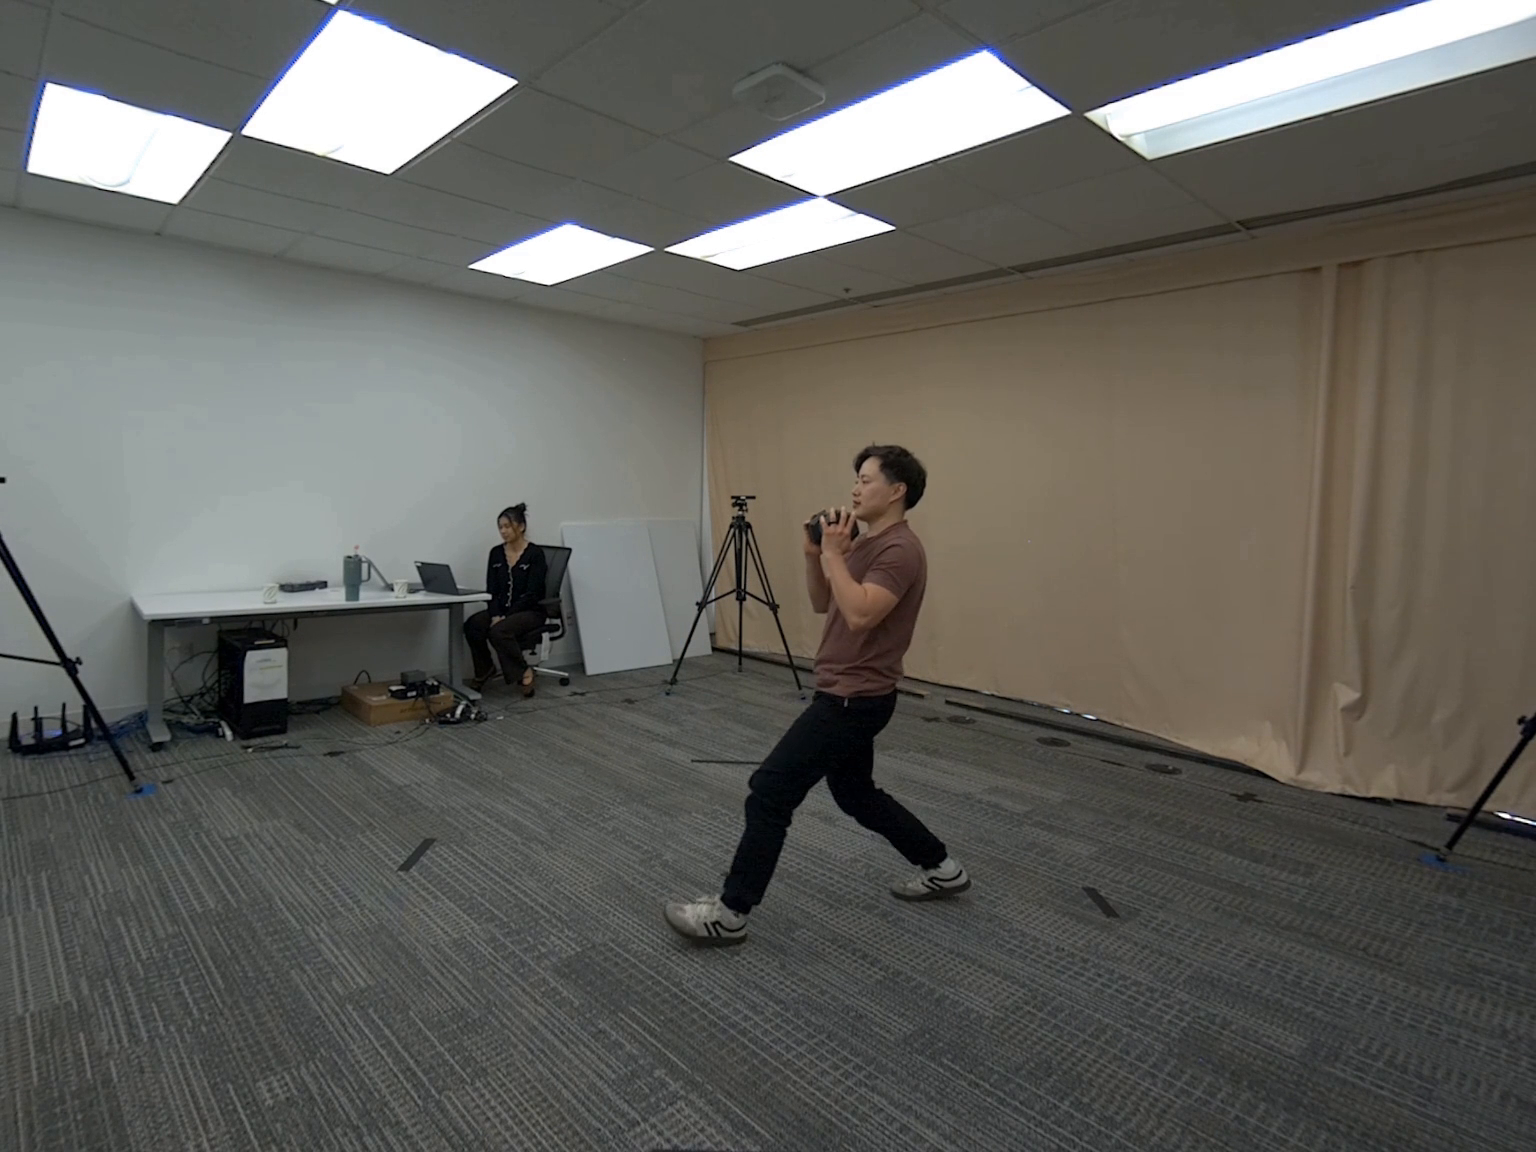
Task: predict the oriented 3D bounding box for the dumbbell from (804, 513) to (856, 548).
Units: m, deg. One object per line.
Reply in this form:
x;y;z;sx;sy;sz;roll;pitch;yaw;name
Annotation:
0.229;-0.141;2.761;0.122;0.109;0.294;15;-3;-4;dumbbell
